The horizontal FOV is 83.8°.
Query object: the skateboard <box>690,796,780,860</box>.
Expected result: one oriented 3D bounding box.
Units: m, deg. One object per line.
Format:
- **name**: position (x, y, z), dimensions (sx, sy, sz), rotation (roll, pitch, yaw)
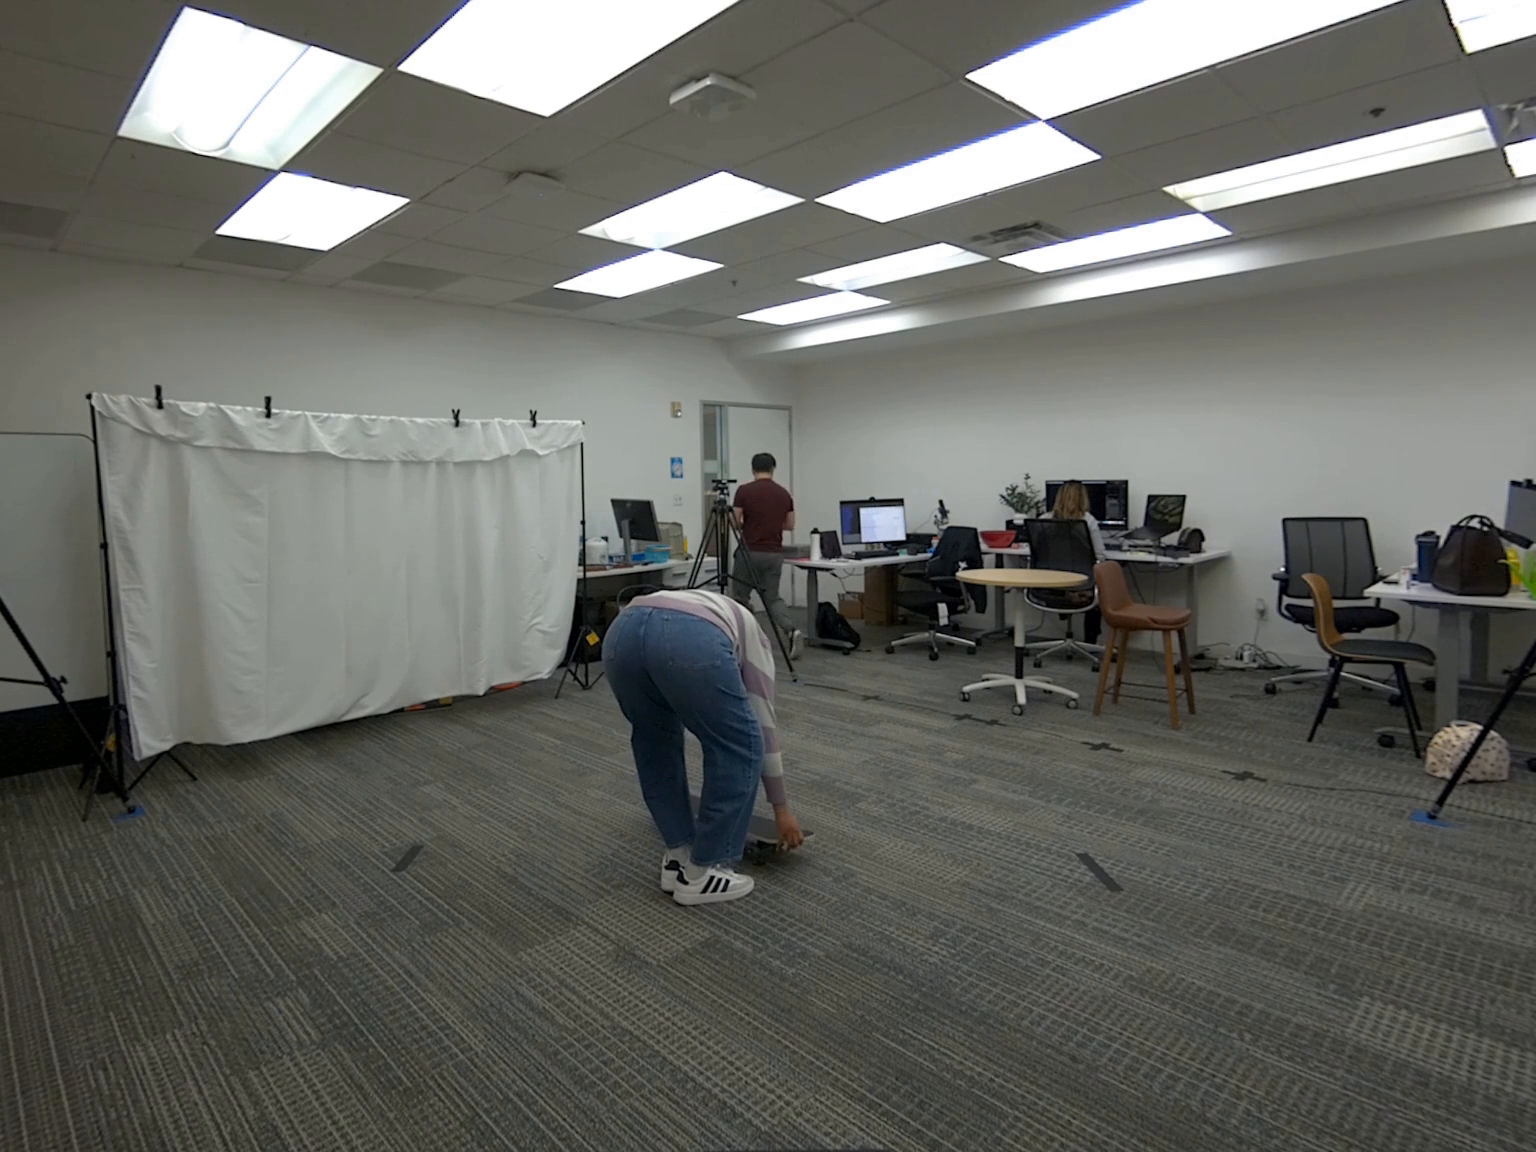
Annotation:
- **skateboard**: position (-0.164, 0.958, 3.314), dimensions (0.810, 0.110, 0.188), rotation (5, 2, 41)
